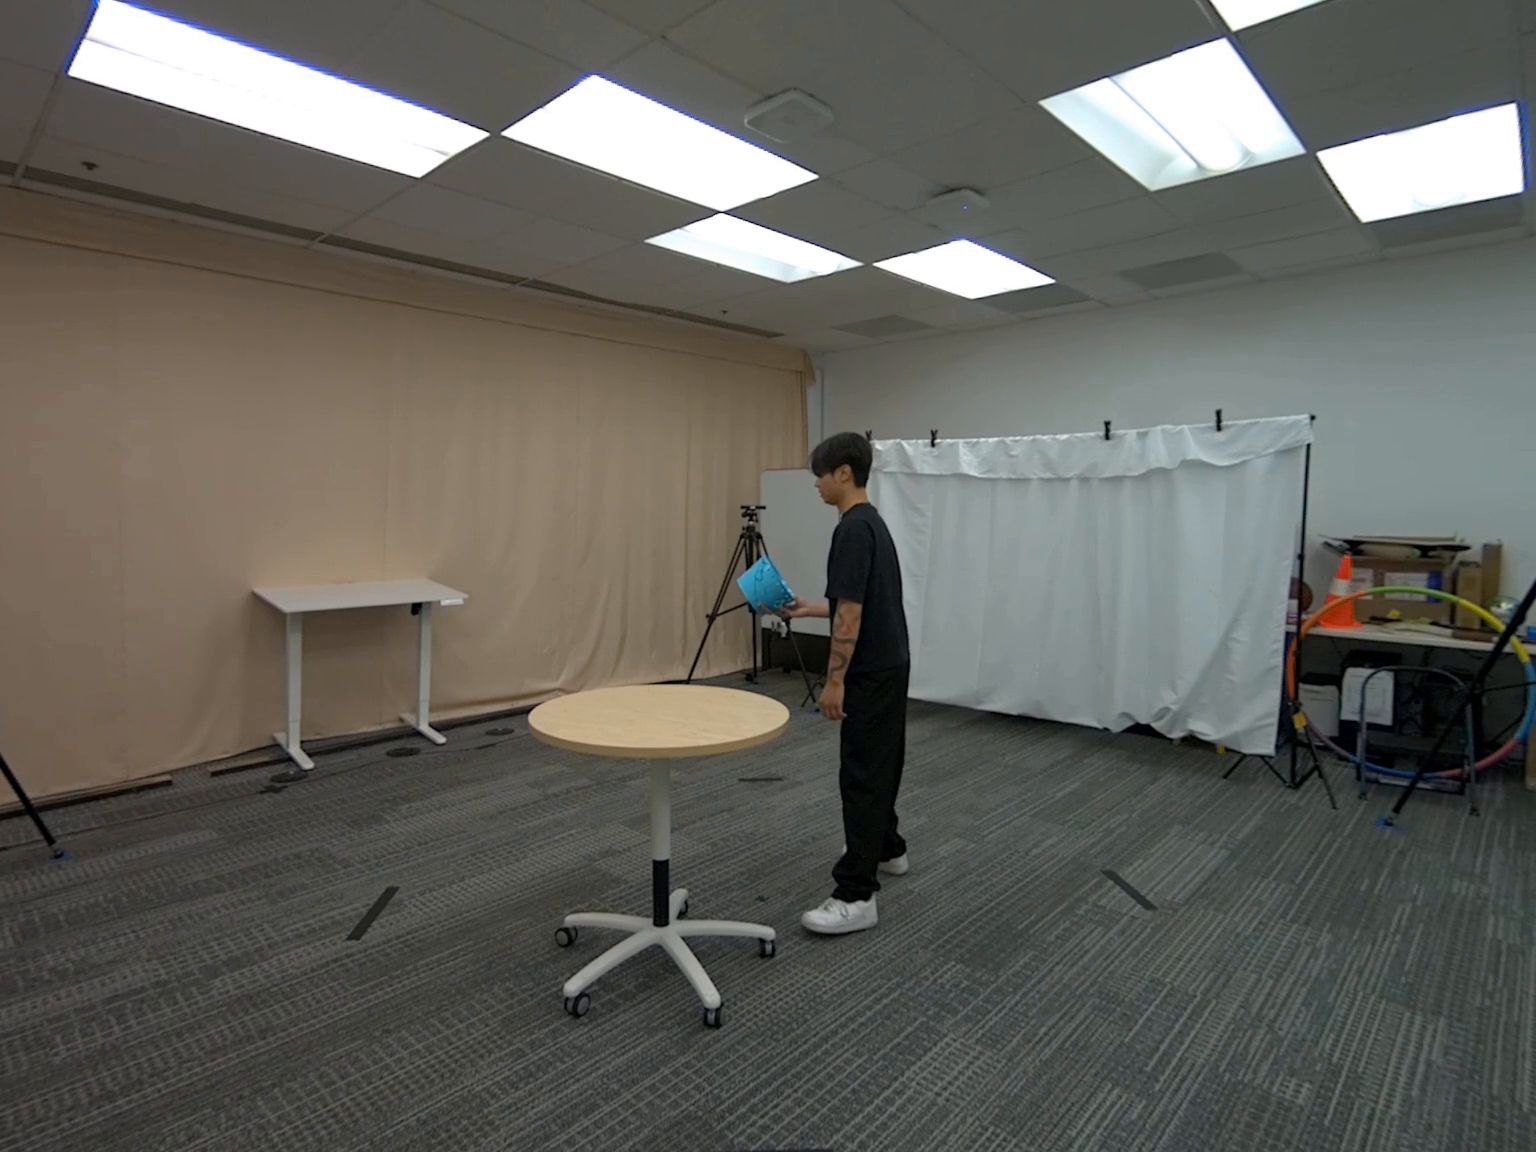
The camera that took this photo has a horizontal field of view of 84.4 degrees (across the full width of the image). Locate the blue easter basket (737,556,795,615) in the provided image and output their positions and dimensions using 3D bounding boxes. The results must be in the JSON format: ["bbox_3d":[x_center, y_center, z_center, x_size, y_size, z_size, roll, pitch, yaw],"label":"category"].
[{"bbox_3d":[-0.010,0.044,3.411,0.156,0.243,0.243,-34,1,4],"label":"blue easter basket"}]
